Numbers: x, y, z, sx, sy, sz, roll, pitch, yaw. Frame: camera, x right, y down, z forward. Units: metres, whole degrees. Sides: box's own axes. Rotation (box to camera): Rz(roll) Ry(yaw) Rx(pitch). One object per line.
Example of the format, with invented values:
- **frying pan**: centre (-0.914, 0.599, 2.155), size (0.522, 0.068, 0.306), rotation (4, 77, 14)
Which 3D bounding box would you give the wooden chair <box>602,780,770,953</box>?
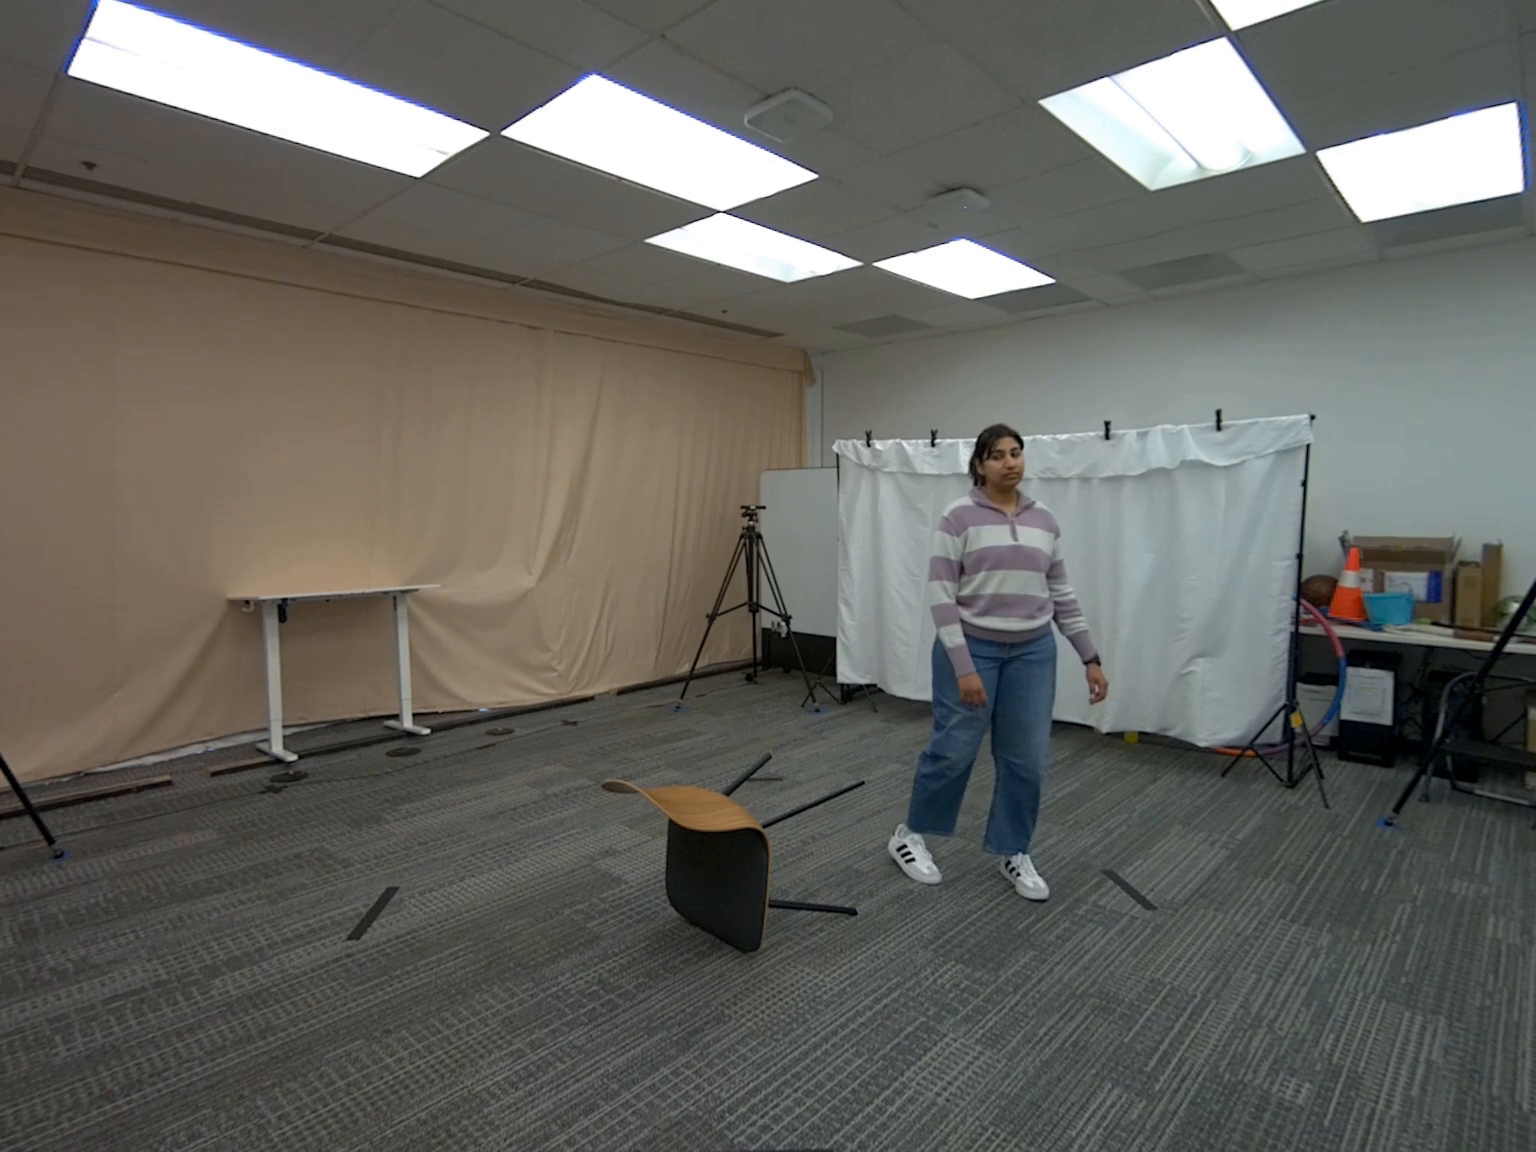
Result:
- **wooden chair**: centre (-0.135, 0.910, 2.740), size (0.494, 0.524, 0.847), rotation (5, -2, 45)
